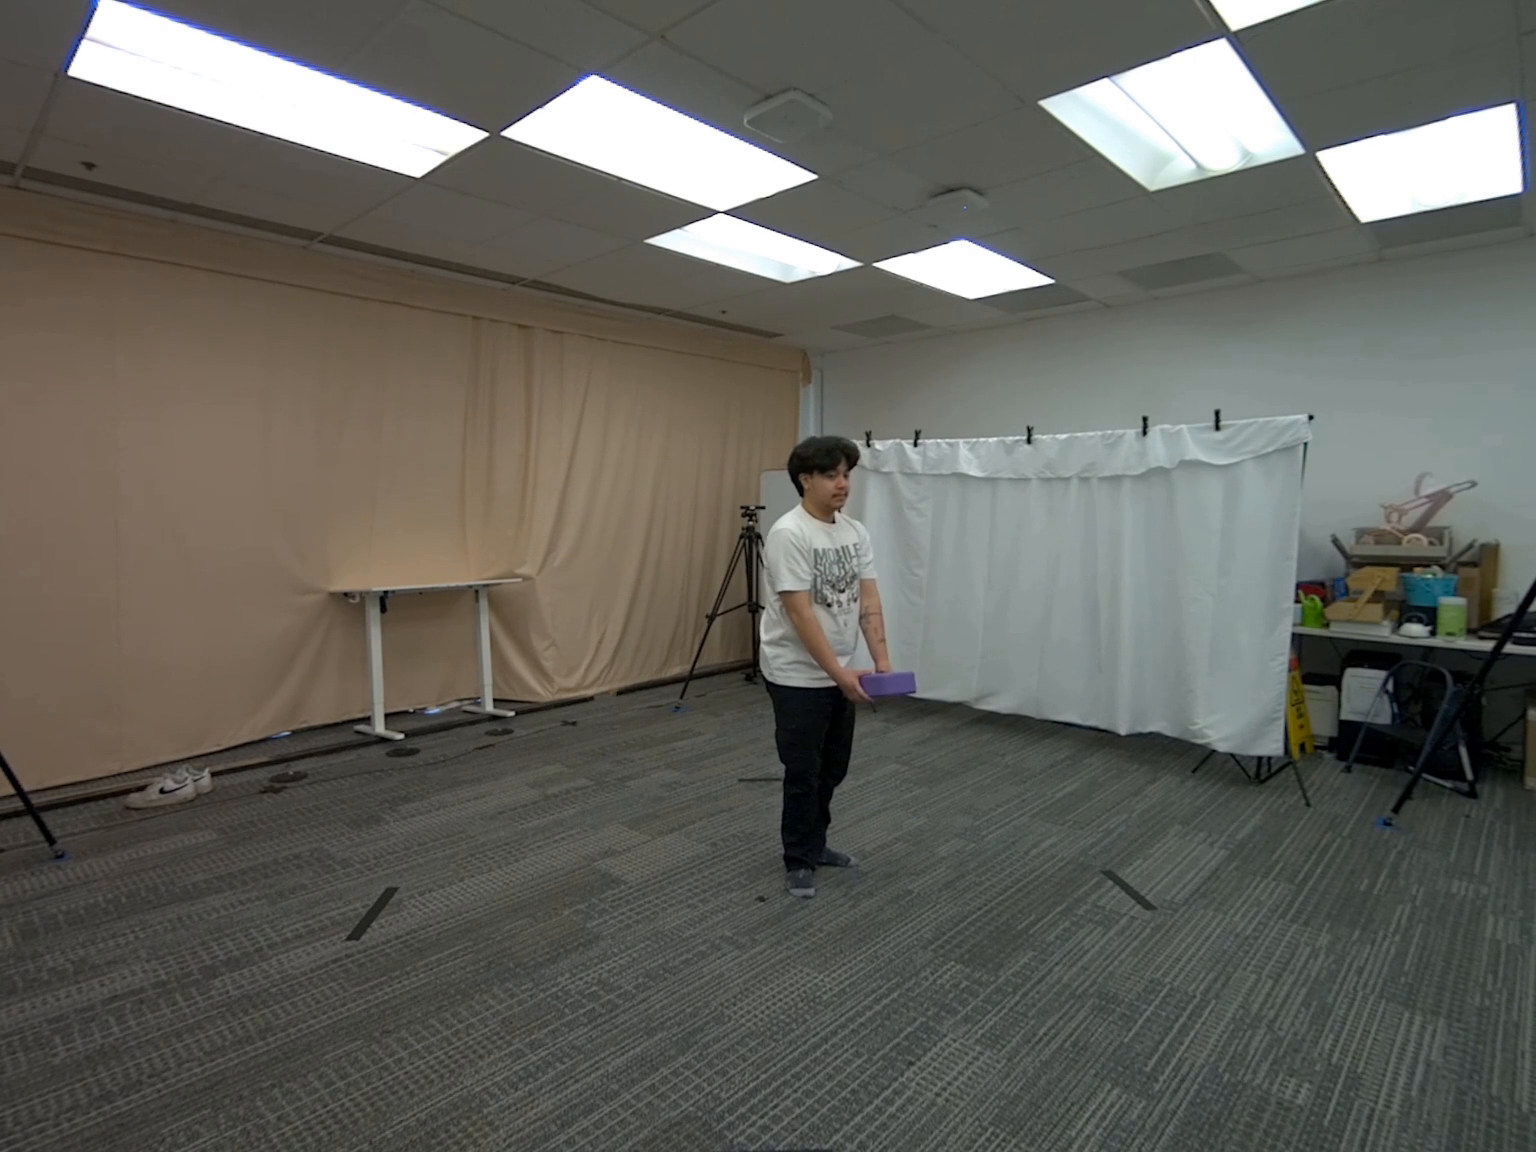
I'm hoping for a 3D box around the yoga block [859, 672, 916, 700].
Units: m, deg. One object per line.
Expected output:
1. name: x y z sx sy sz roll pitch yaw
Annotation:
1. yoga block: 0.403 0.379 2.941 0.145 0.077 0.234 -3 -6 -30
